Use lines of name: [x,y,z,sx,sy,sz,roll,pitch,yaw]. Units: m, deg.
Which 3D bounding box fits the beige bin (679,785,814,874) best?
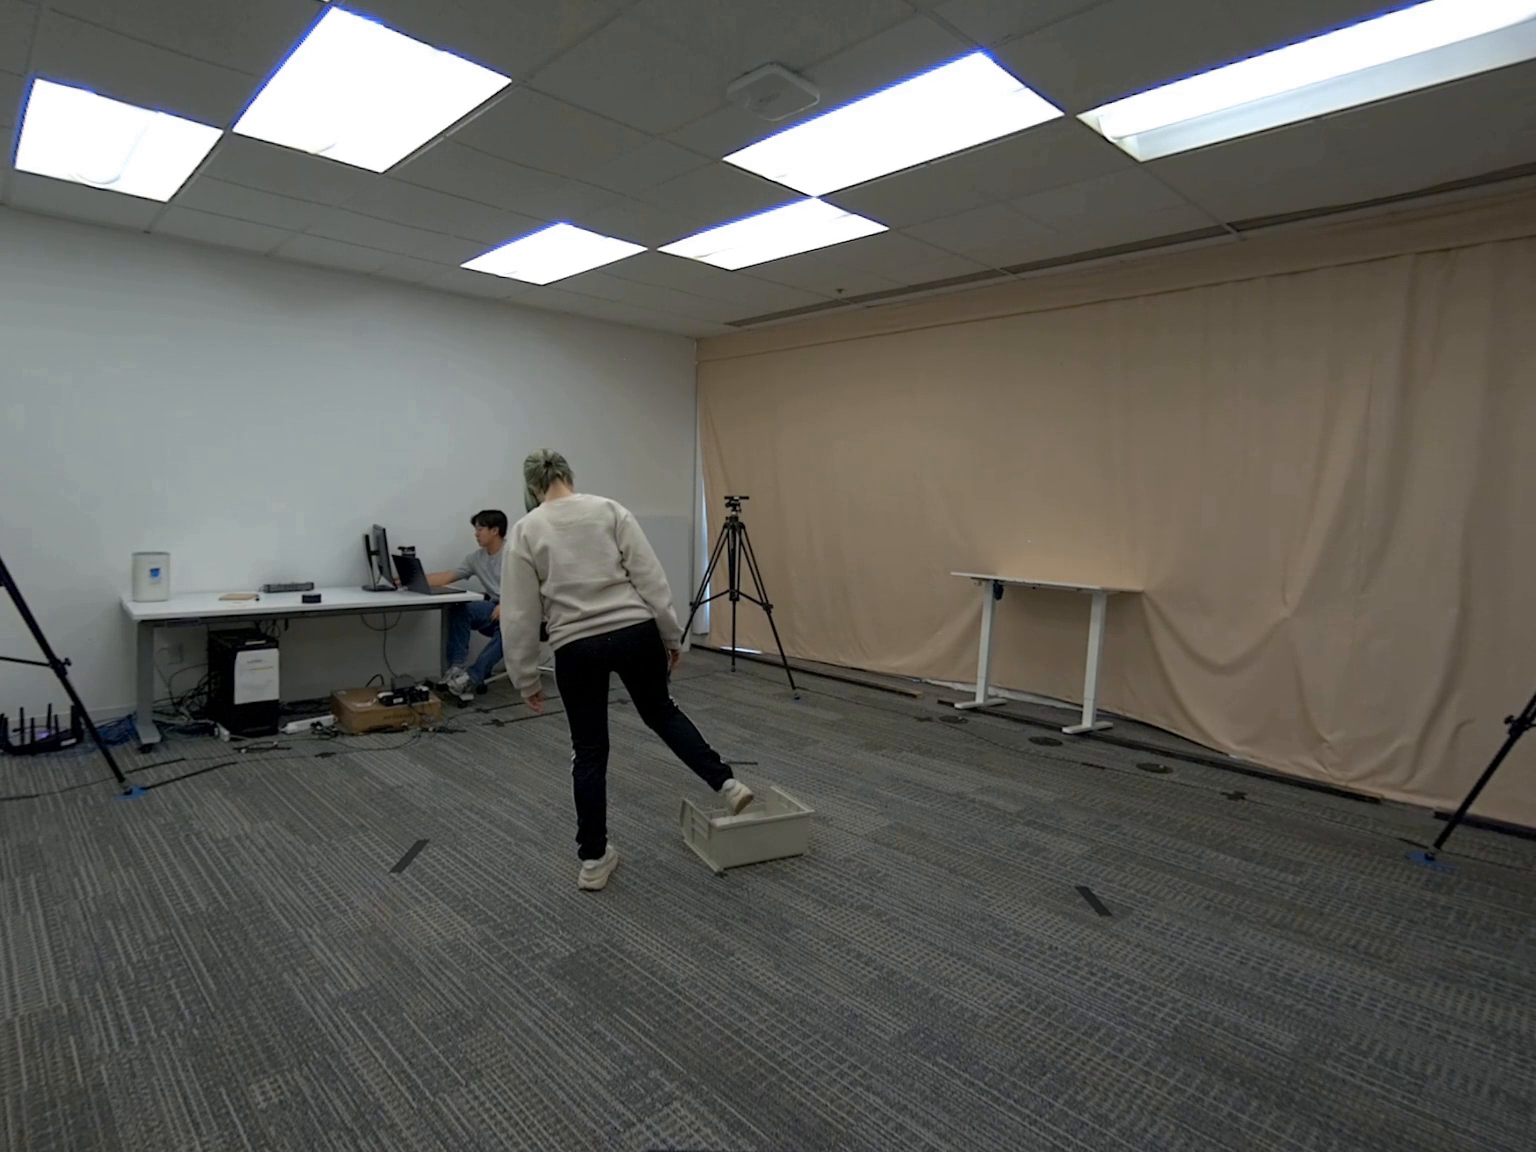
beige bin: [-0.102,0.993,3.366,0.414,0.188,0.386,0,6,-27]
